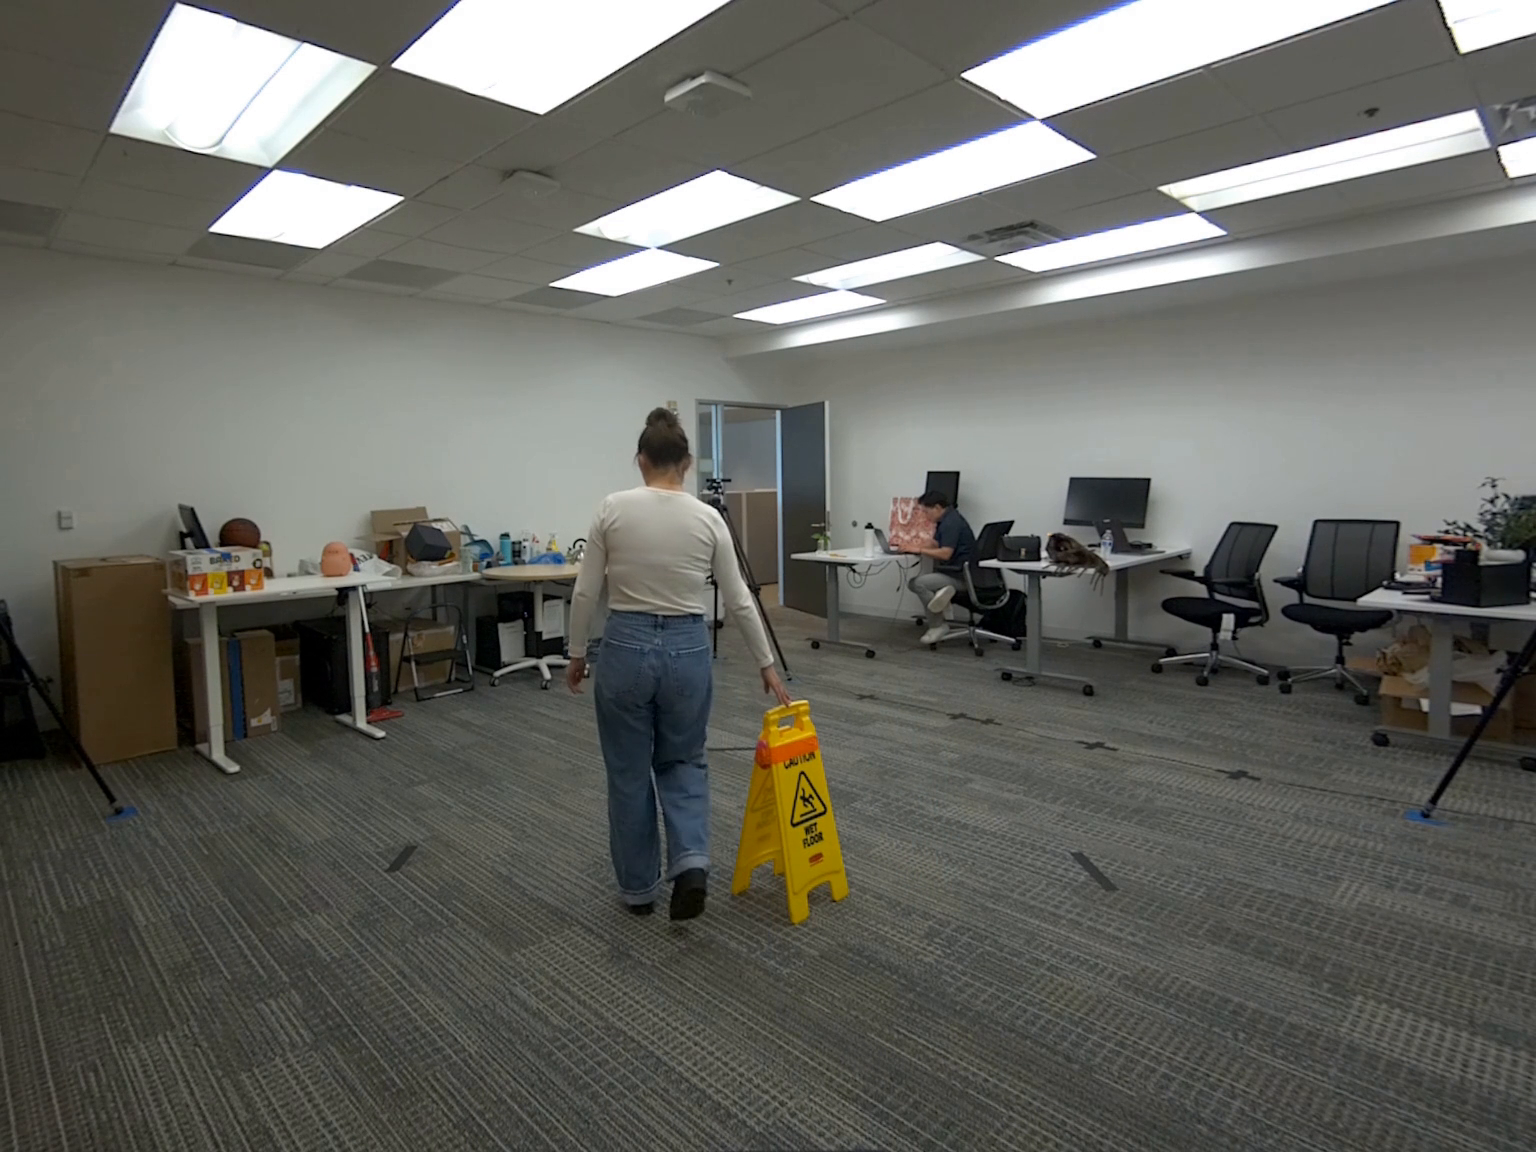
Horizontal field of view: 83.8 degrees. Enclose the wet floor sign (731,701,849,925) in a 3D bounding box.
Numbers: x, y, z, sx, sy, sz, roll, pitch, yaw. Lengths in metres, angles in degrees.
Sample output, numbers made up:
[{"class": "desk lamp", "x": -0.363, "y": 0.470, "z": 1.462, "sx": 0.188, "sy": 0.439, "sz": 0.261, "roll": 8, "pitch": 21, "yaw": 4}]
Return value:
[{"class": "wet floor sign", "x": 0.073, "y": 0.746, "z": 2.847, "sx": 0.299, "sy": 0.643, "sz": 0.275, "roll": 4, "pitch": 6, "yaw": 45}]
